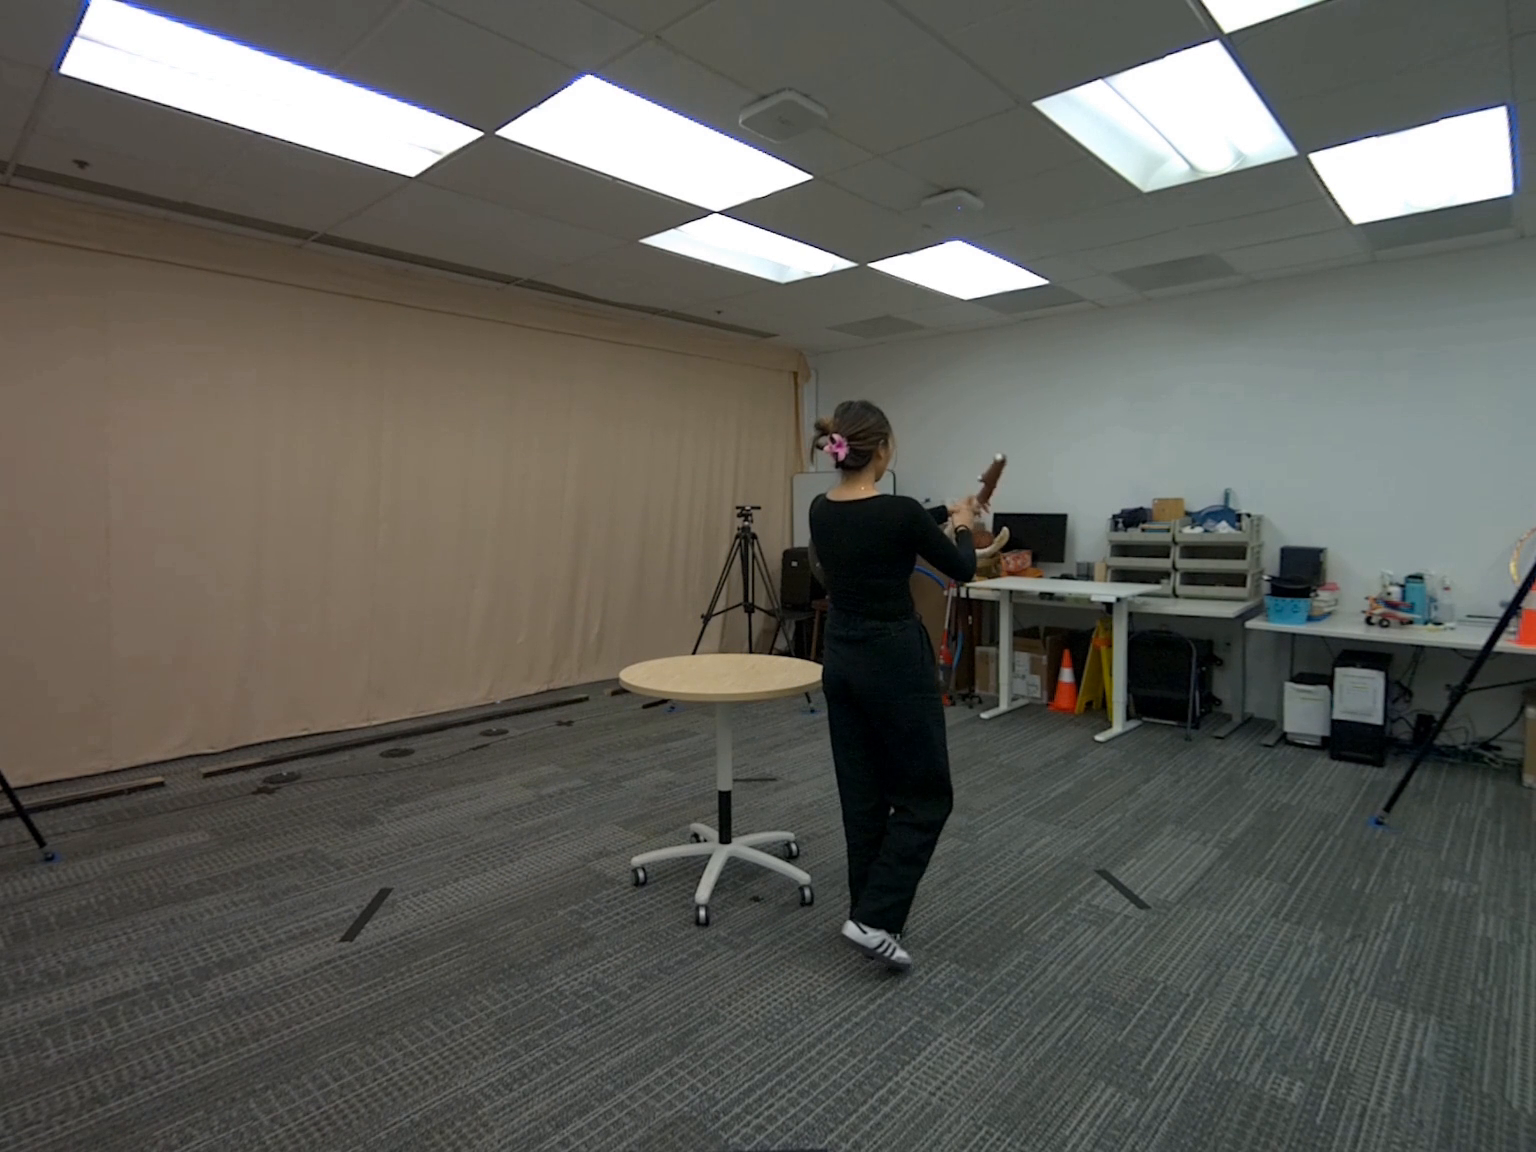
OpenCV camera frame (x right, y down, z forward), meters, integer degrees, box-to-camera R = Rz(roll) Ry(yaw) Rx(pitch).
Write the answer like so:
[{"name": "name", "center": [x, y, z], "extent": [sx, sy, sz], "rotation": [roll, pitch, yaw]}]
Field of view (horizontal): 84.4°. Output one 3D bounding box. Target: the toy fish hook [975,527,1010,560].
[{"name": "toy fish hook", "center": [0.774, -0.229, 2.912], "extent": [0.223, 0.049, 0.502], "rotation": [9, -42, -8]}]
